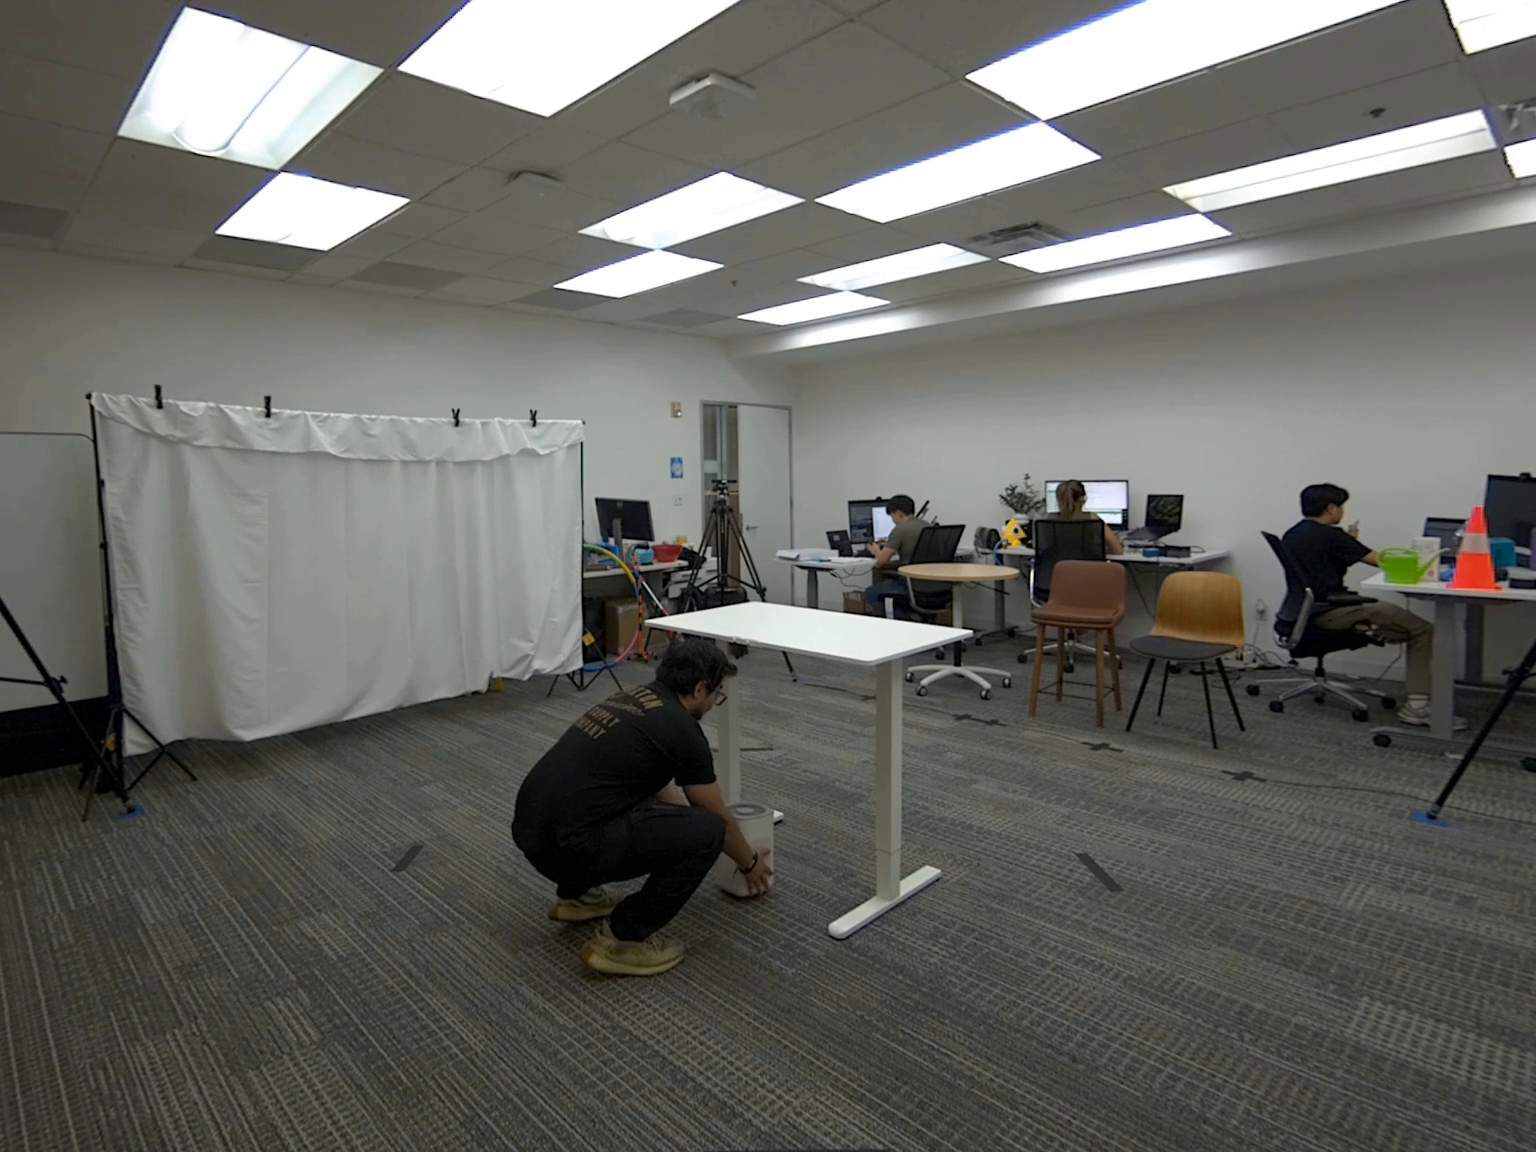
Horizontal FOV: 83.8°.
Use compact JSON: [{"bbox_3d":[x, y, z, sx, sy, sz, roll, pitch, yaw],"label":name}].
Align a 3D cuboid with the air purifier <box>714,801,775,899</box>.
[{"bbox_3d":[-0.074,0.924,2.906,0.166,0.265,0.176,1,0,-41],"label":"air purifier"}]
